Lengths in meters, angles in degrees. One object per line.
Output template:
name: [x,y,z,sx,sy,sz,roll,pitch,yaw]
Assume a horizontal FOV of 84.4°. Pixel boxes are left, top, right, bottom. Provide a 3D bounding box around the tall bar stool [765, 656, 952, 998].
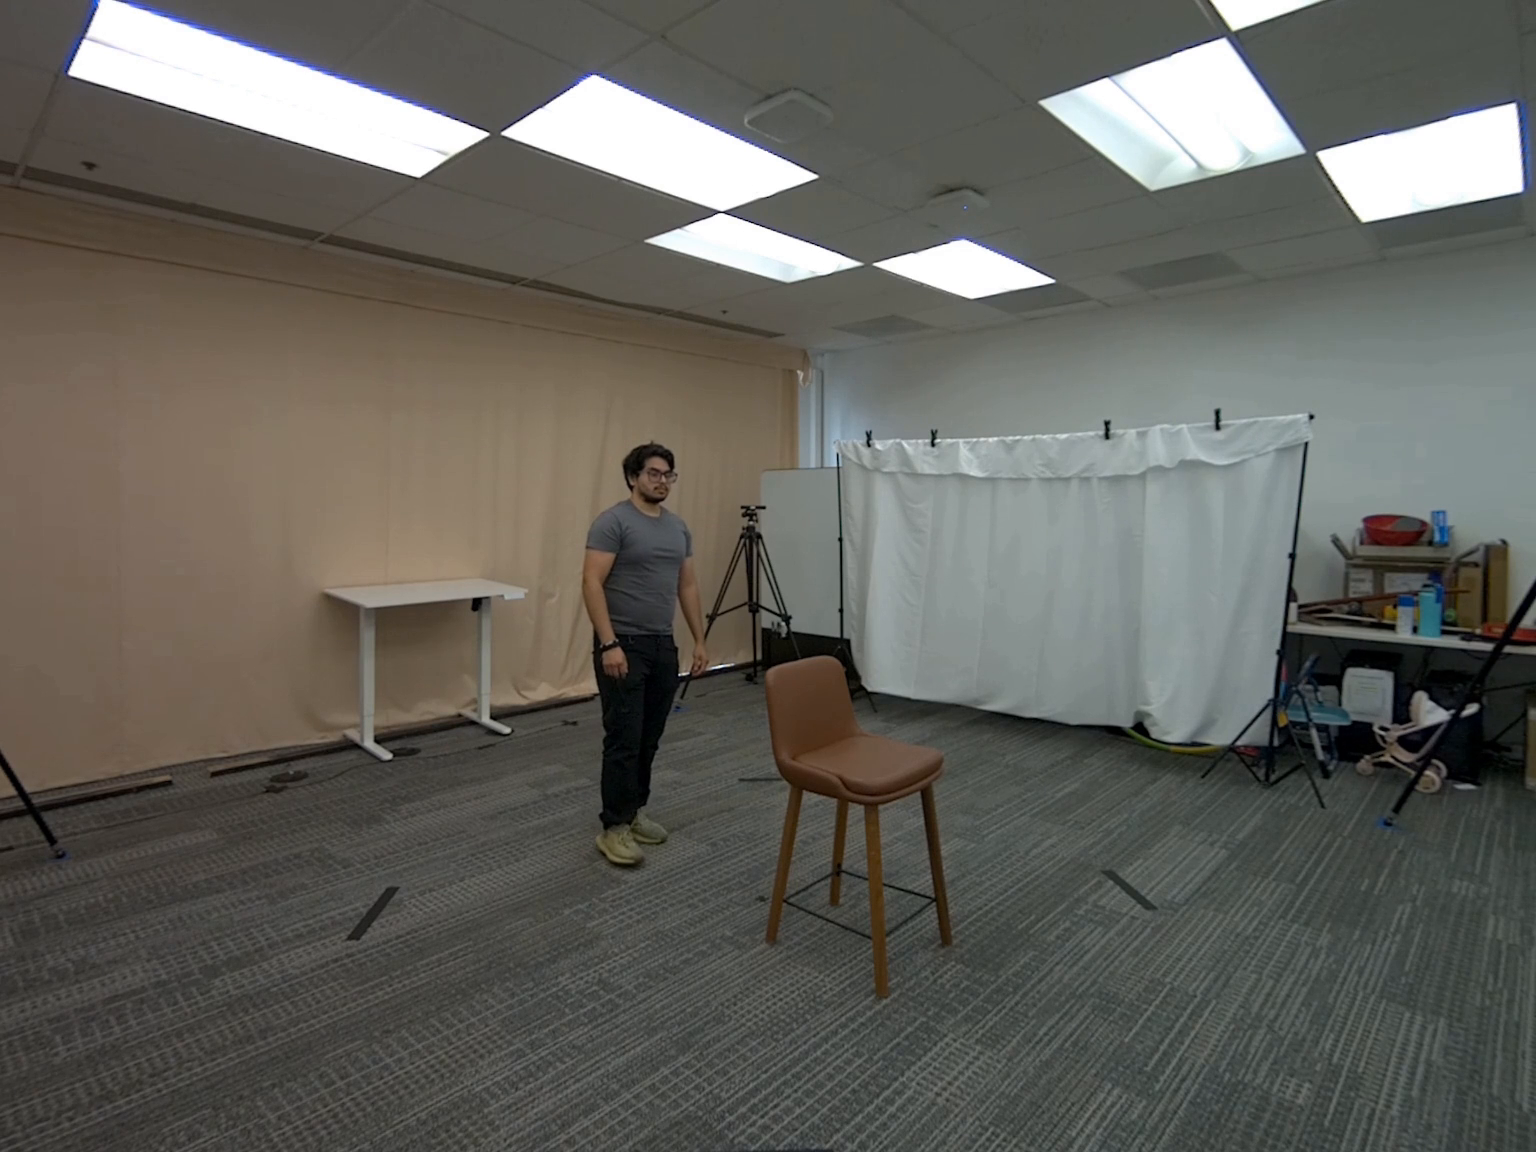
tall bar stool: [0.281,0.735,2.654,0.483,0.888,0.442,1,3,42]
